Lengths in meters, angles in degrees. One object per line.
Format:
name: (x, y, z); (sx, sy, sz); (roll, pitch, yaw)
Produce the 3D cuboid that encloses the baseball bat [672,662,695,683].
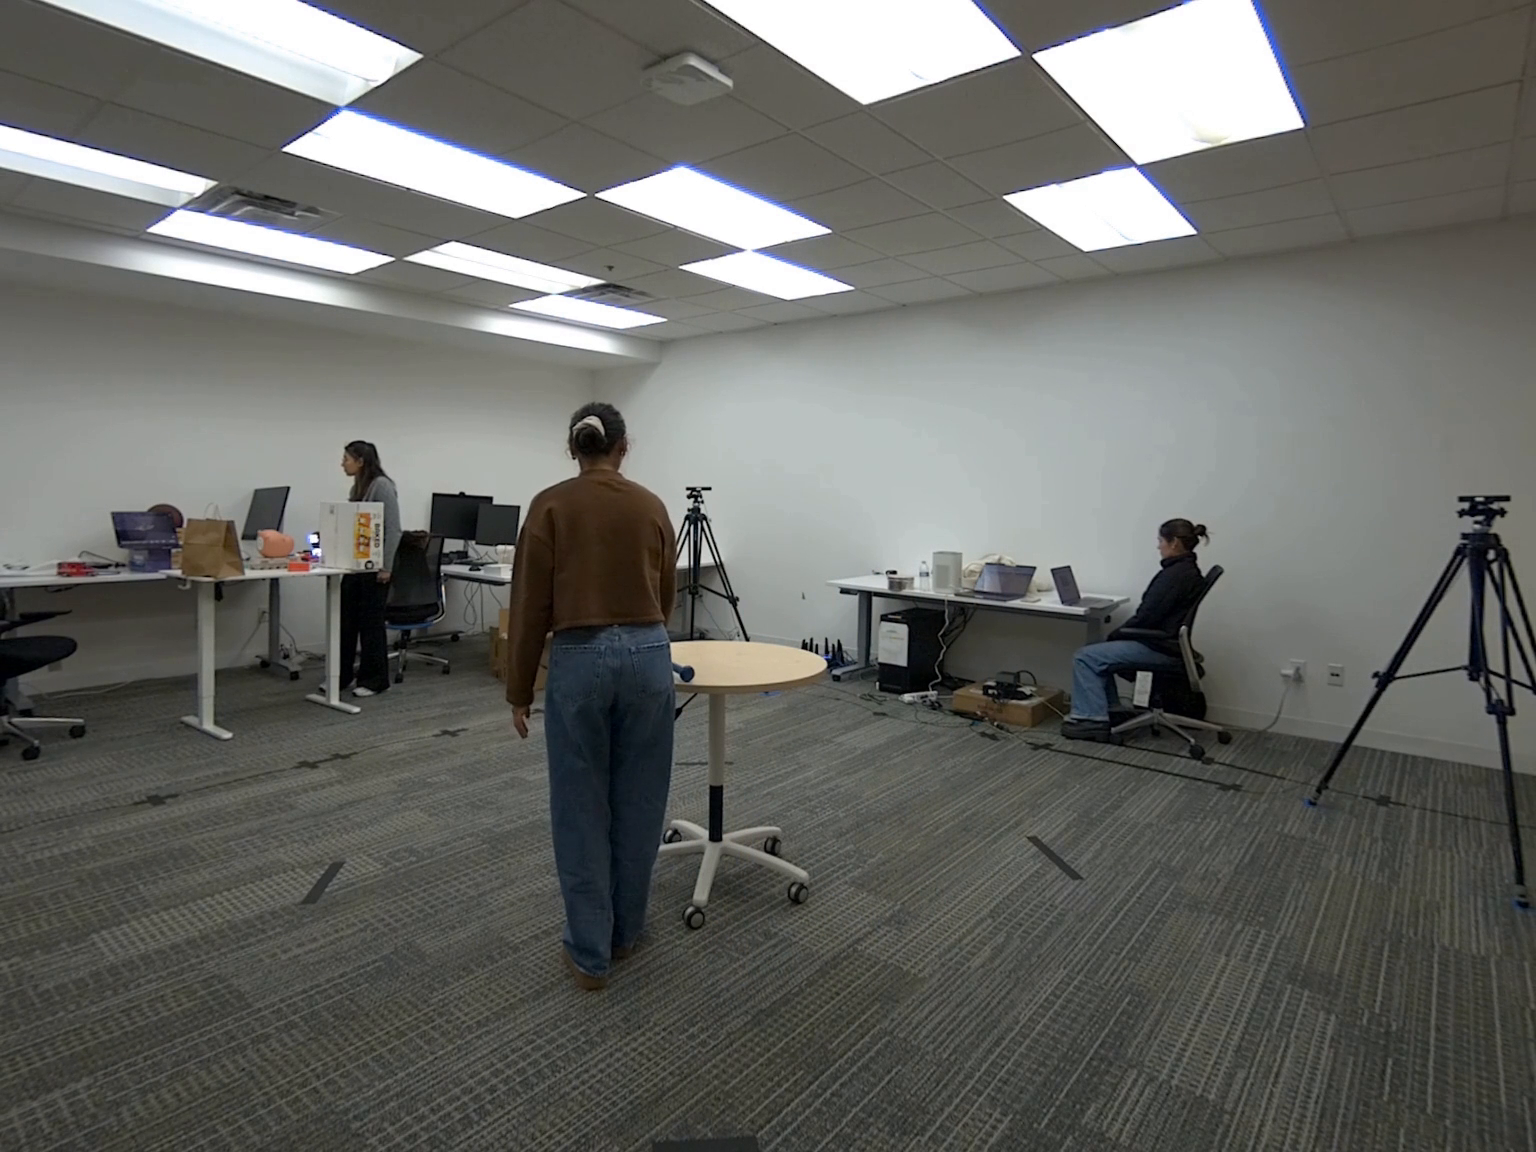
baseball bat: (-0.406, 0.269, 2.878); (0.087, 0.088, 0.560); (-2, 9, -28)
